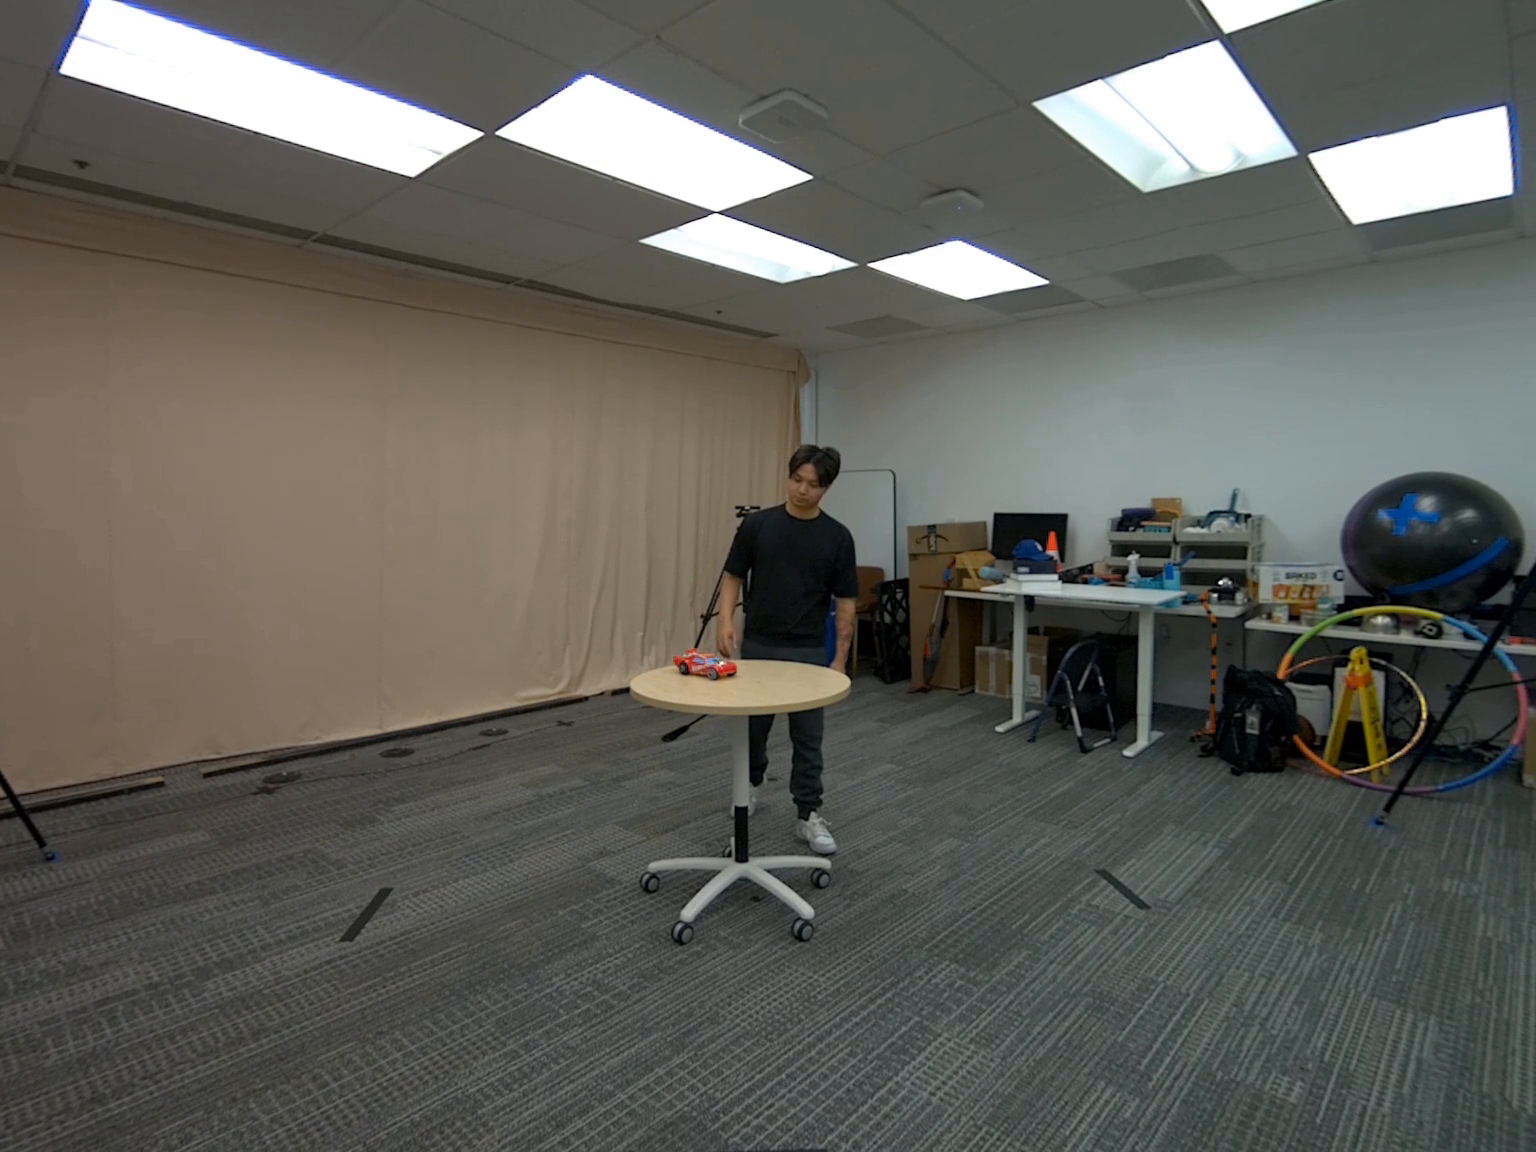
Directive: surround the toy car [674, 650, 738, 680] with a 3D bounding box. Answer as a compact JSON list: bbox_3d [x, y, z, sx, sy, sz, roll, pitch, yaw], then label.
[{"bbox_3d":[-0.236,0.326,3.050,0.264,0.083,0.126,17,15,41],"label":"toy car"}]
